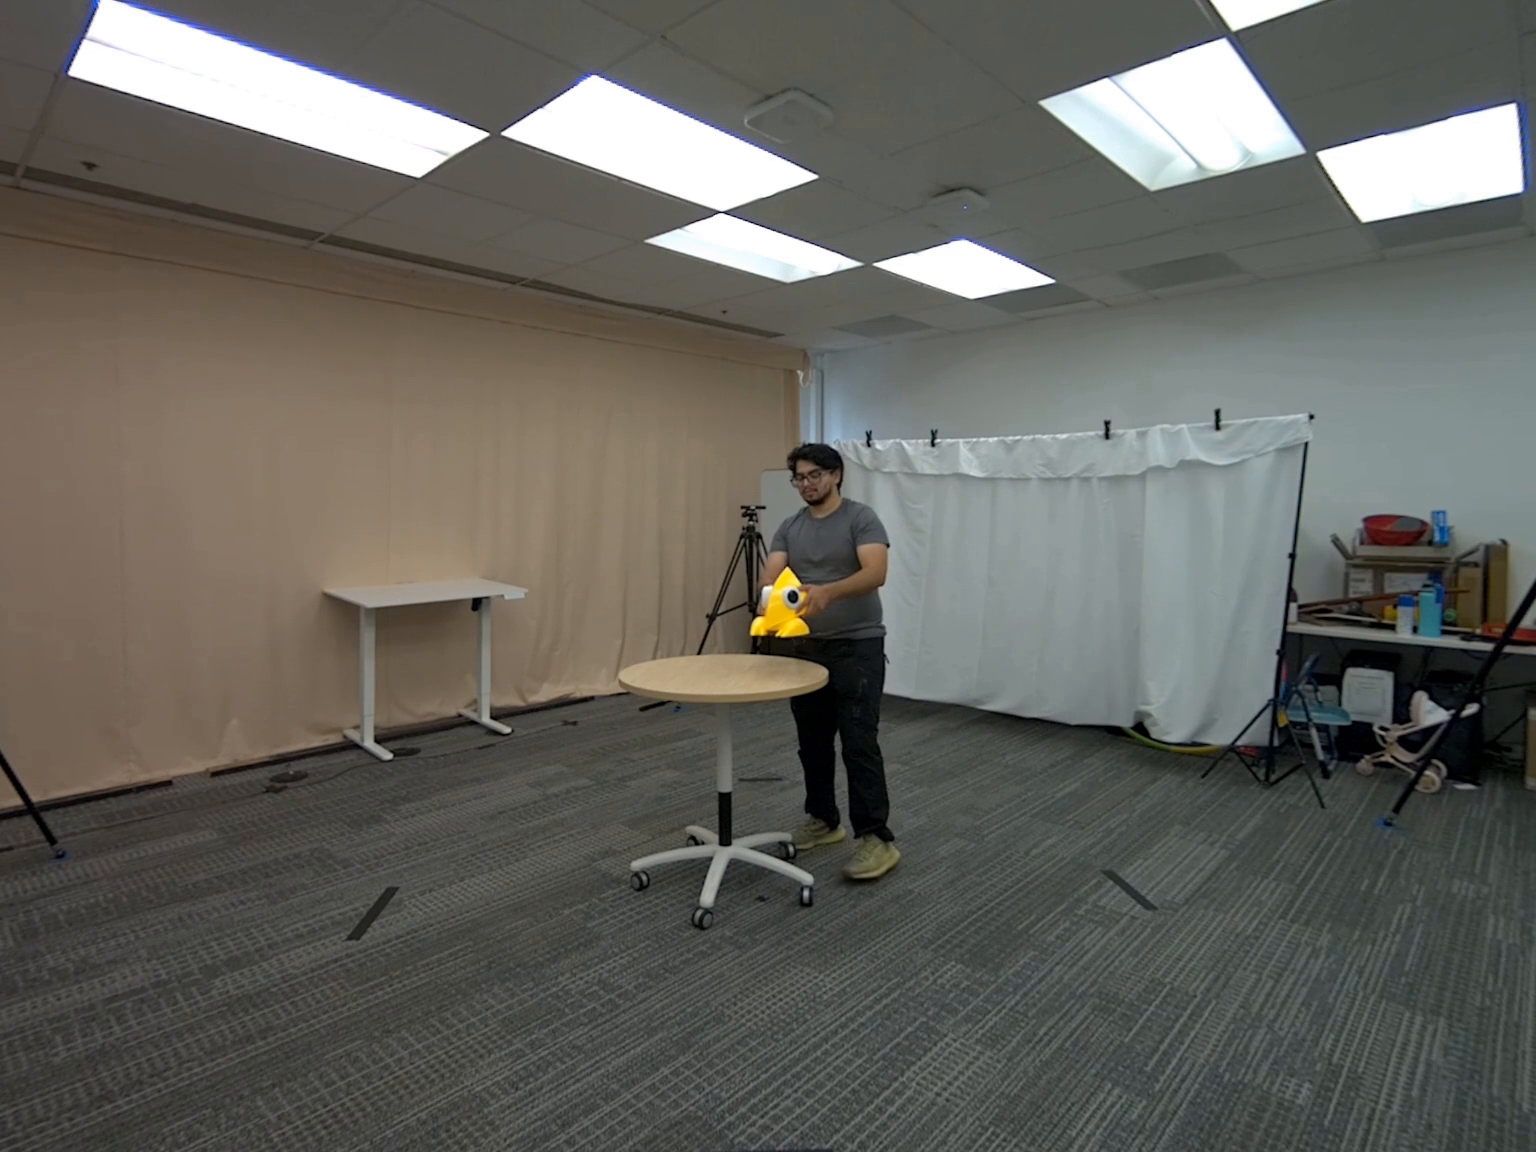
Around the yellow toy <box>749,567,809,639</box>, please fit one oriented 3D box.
[{"bbox_3d":[0.046,0.093,2.971,0.211,0.230,0.187,1,4,39],"label":"yellow toy"}]
